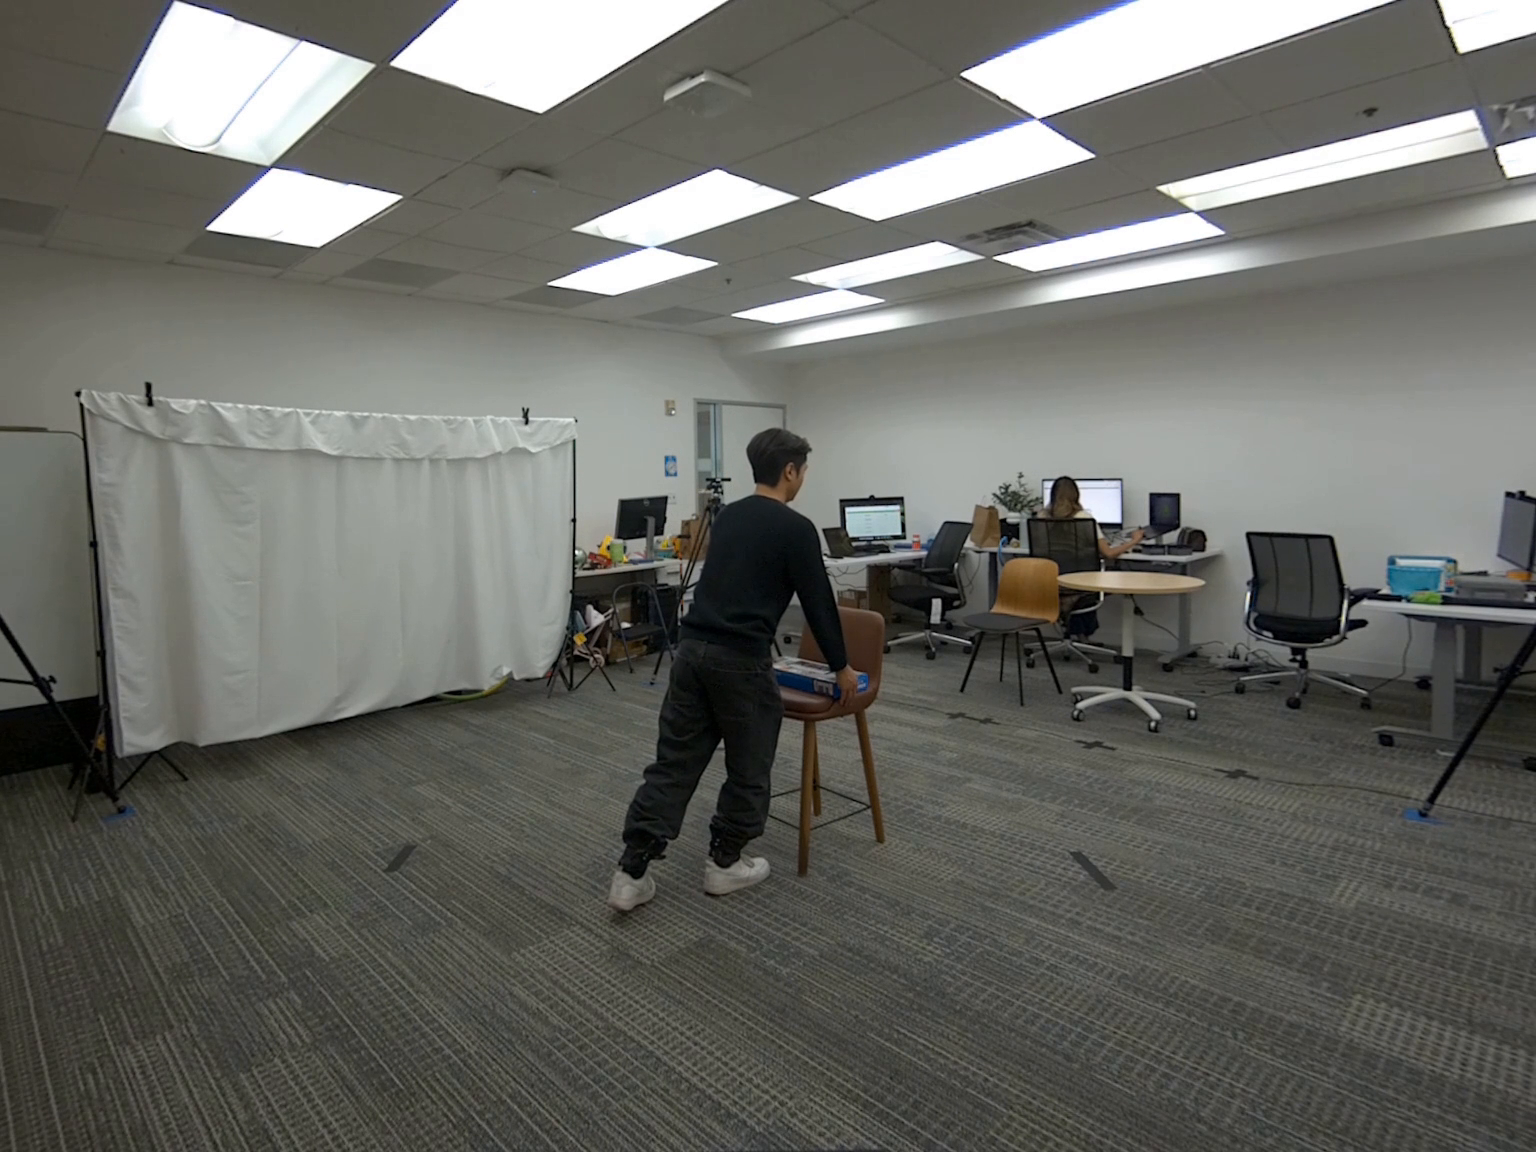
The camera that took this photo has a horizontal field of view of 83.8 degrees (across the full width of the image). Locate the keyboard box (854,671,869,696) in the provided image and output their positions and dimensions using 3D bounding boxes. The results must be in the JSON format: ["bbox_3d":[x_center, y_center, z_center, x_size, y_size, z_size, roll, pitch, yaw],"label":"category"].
[{"bbox_3d":[0.159,0.368,3.235,0.172,0.059,0.451,-10,11,-40],"label":"keyboard box"}]
